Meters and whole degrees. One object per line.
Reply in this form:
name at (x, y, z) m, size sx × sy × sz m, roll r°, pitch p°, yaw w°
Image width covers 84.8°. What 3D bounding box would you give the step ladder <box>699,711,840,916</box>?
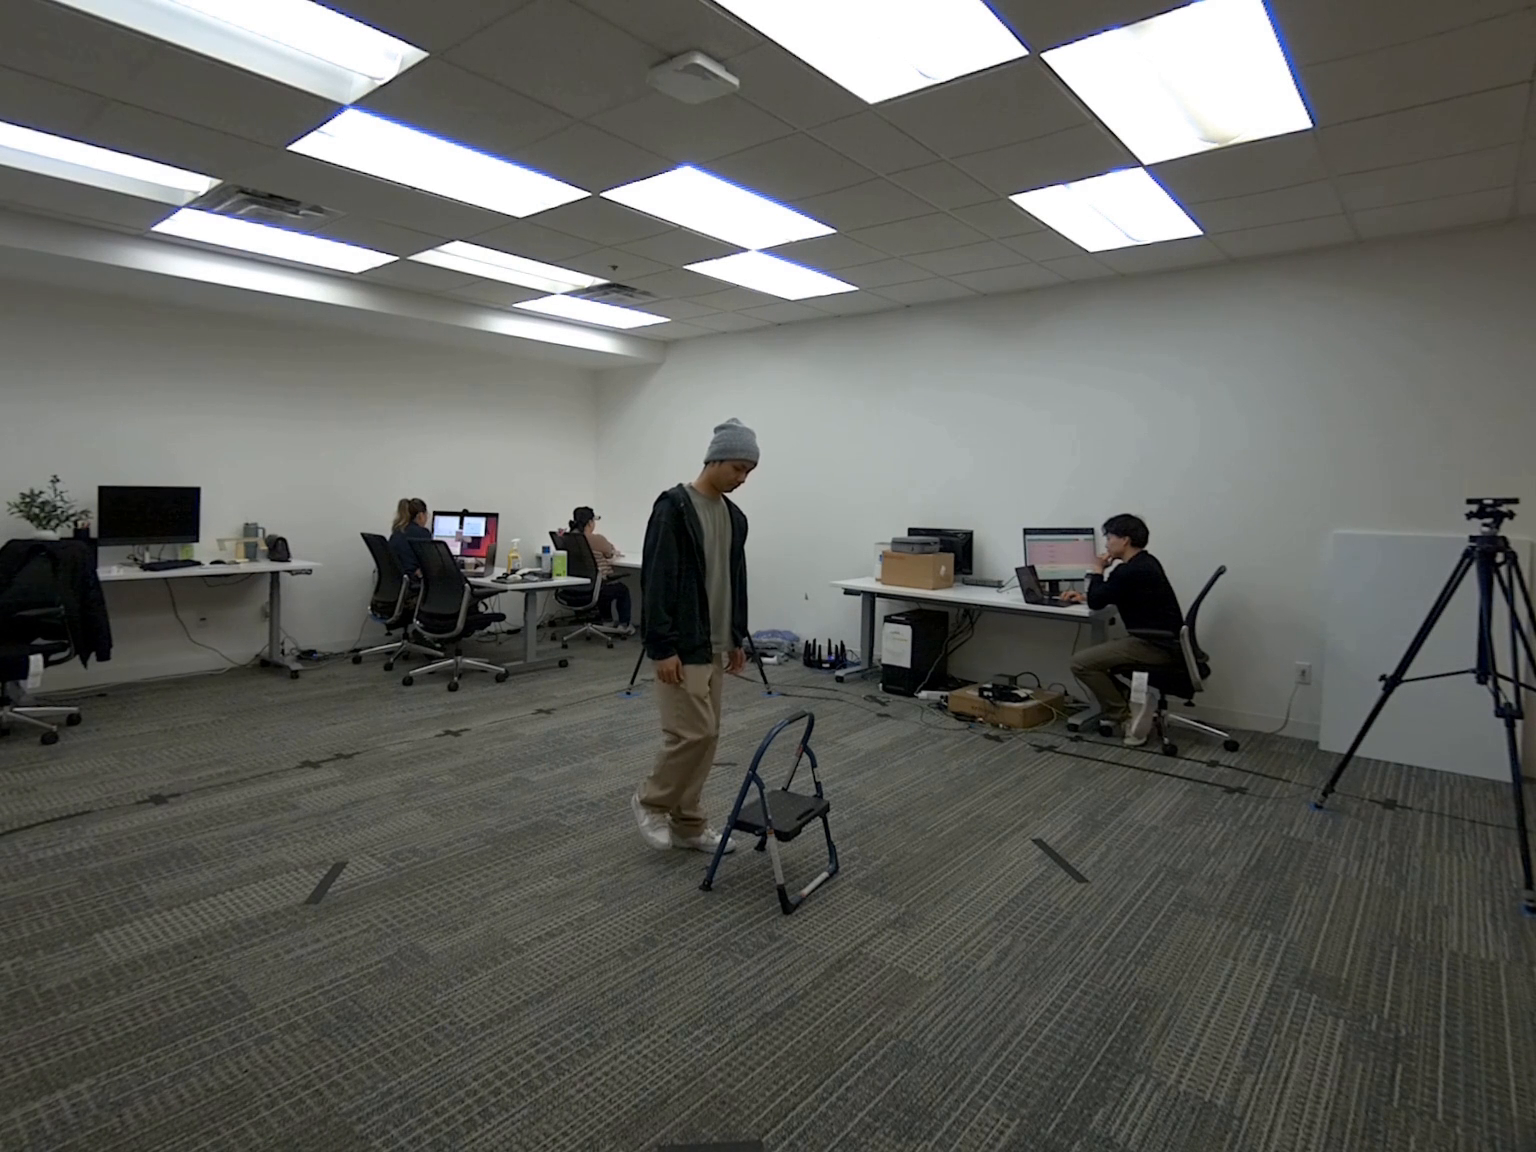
step ladder at (0.015, 0.777, 3.017) m, size 0.359 × 0.604 × 0.419 m, roll 3°, pitch 4°, yaw 29°
